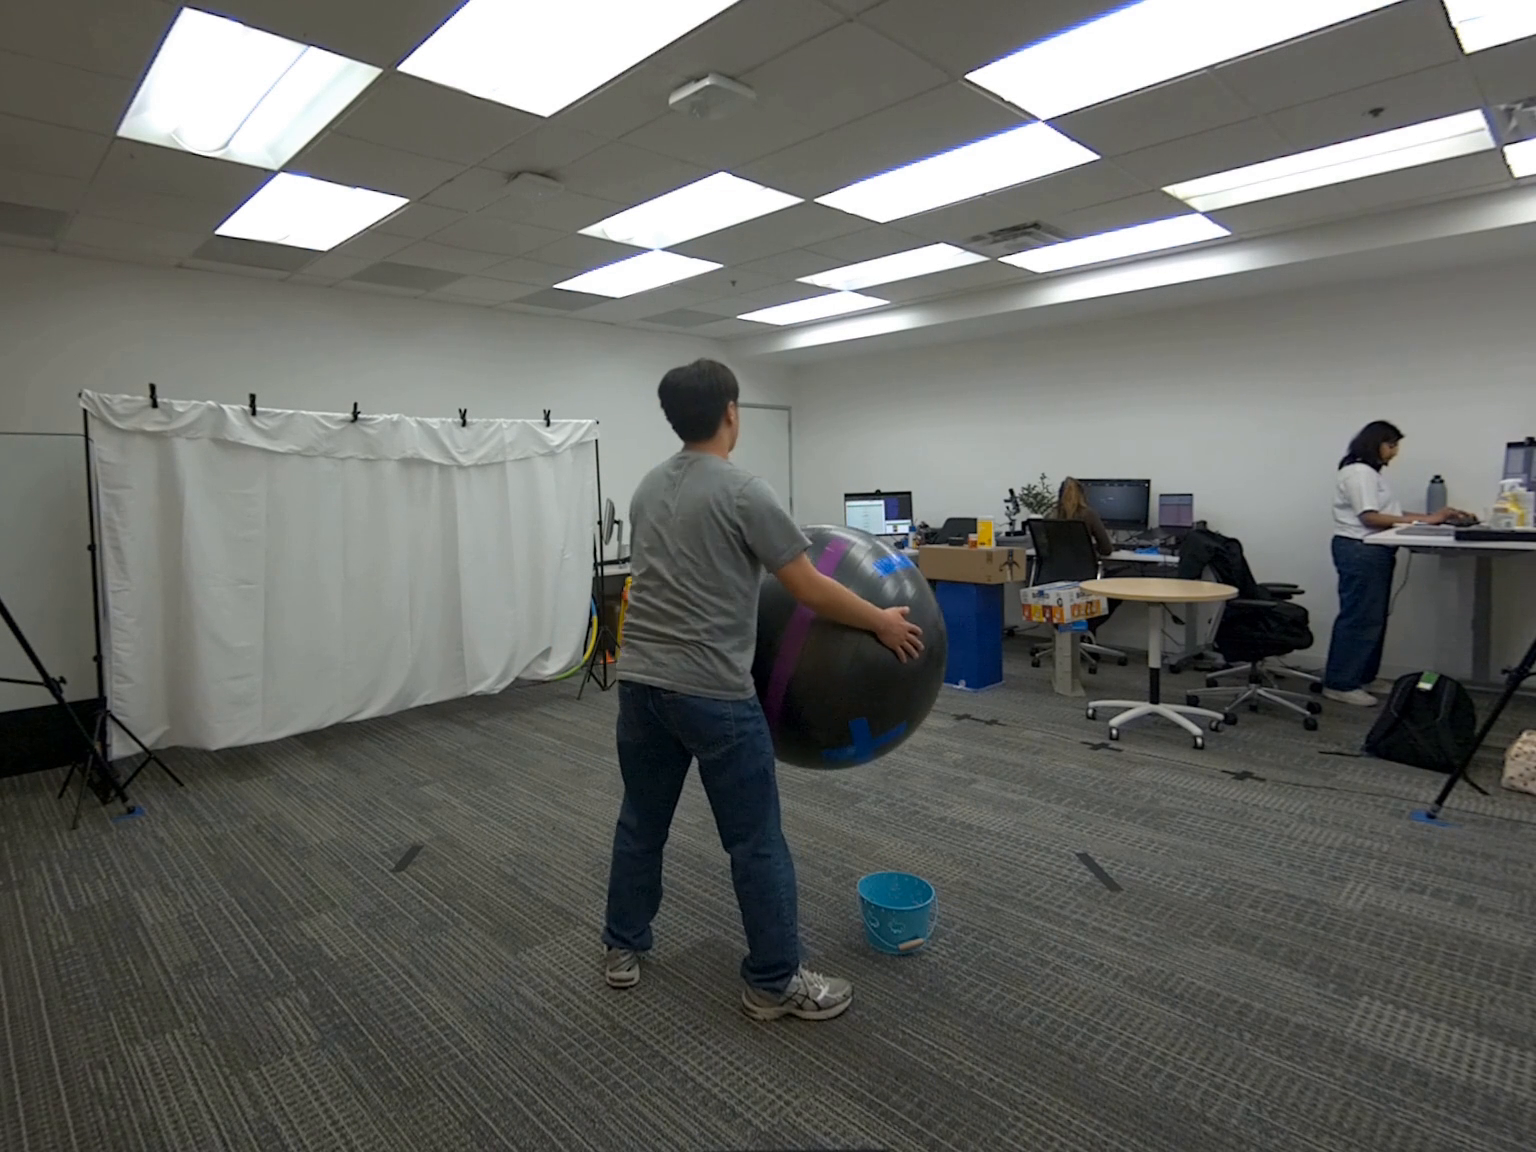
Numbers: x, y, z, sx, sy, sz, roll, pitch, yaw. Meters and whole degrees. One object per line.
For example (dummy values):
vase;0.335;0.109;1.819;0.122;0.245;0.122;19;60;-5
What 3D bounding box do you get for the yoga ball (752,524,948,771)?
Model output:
yoga ball;0.167;0.223;2.671;0.757;0.755;0.762;-1;5;-2
